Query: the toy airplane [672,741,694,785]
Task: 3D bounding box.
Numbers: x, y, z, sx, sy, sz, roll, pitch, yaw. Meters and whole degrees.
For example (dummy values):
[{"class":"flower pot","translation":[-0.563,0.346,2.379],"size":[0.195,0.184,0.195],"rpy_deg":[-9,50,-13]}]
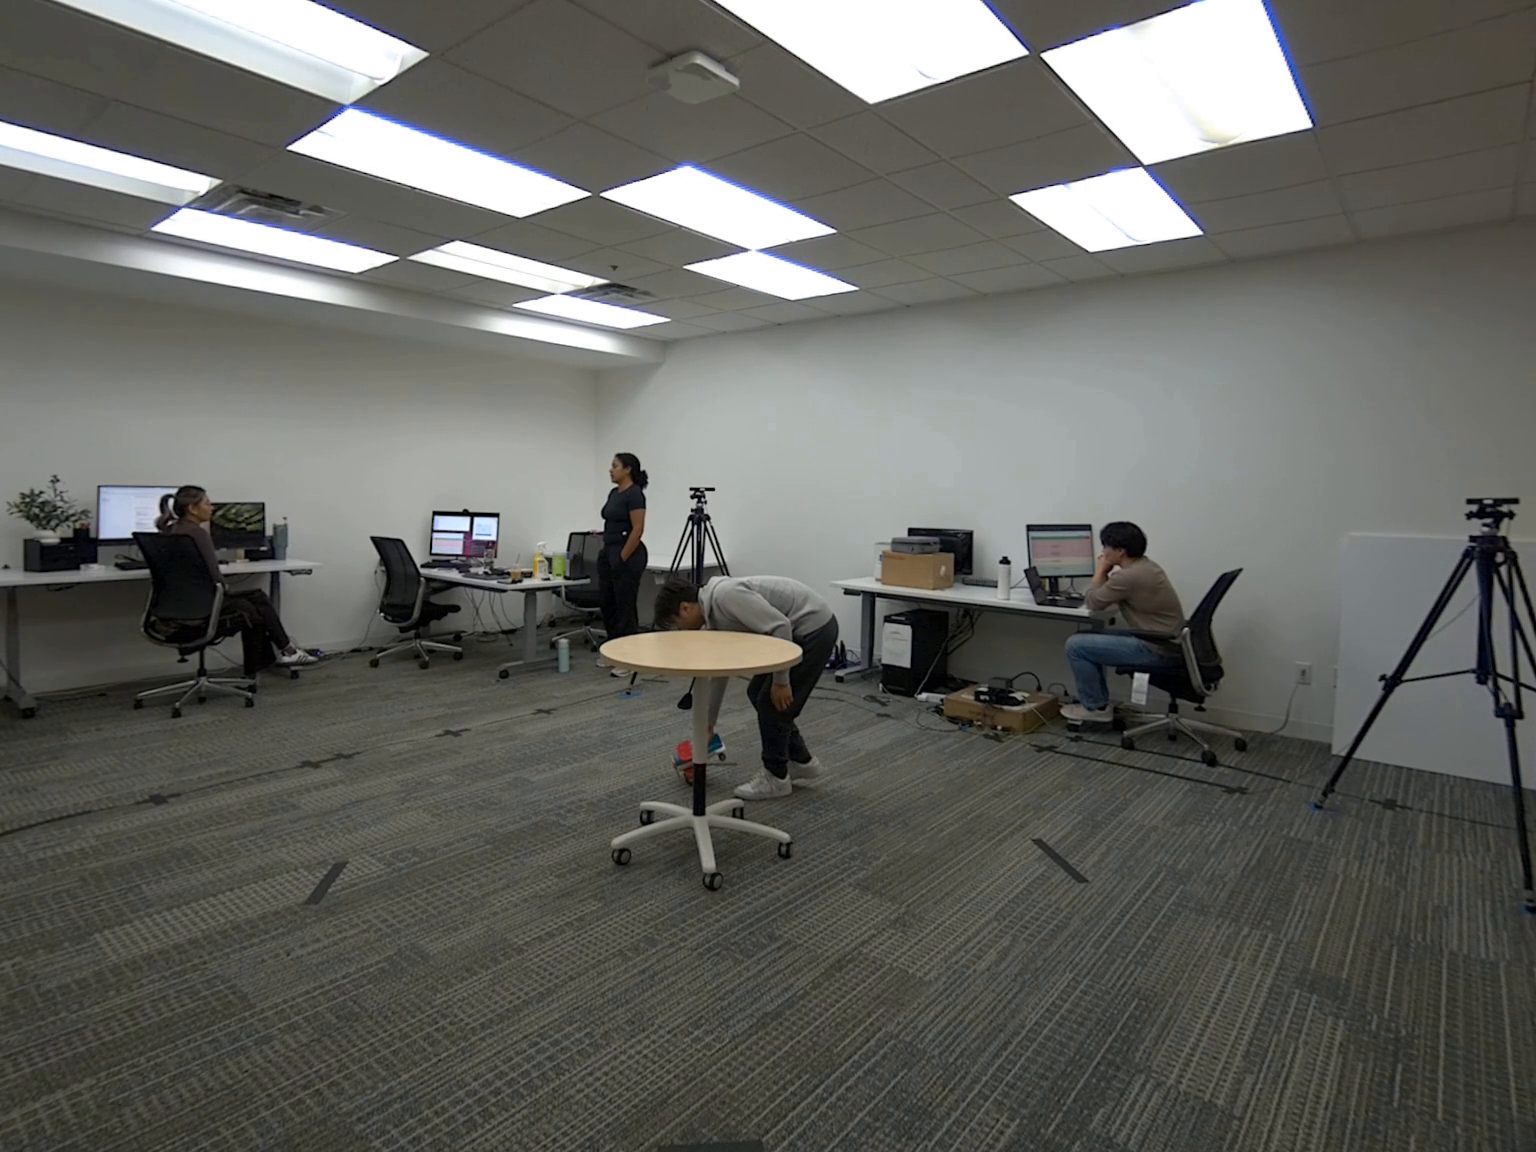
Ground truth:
[{"class":"toy airplane","translation":[-0.343,0.863,4.073],"size":[0.258,0.155,0.255],"rpy_deg":[-40,12,-34]}]
